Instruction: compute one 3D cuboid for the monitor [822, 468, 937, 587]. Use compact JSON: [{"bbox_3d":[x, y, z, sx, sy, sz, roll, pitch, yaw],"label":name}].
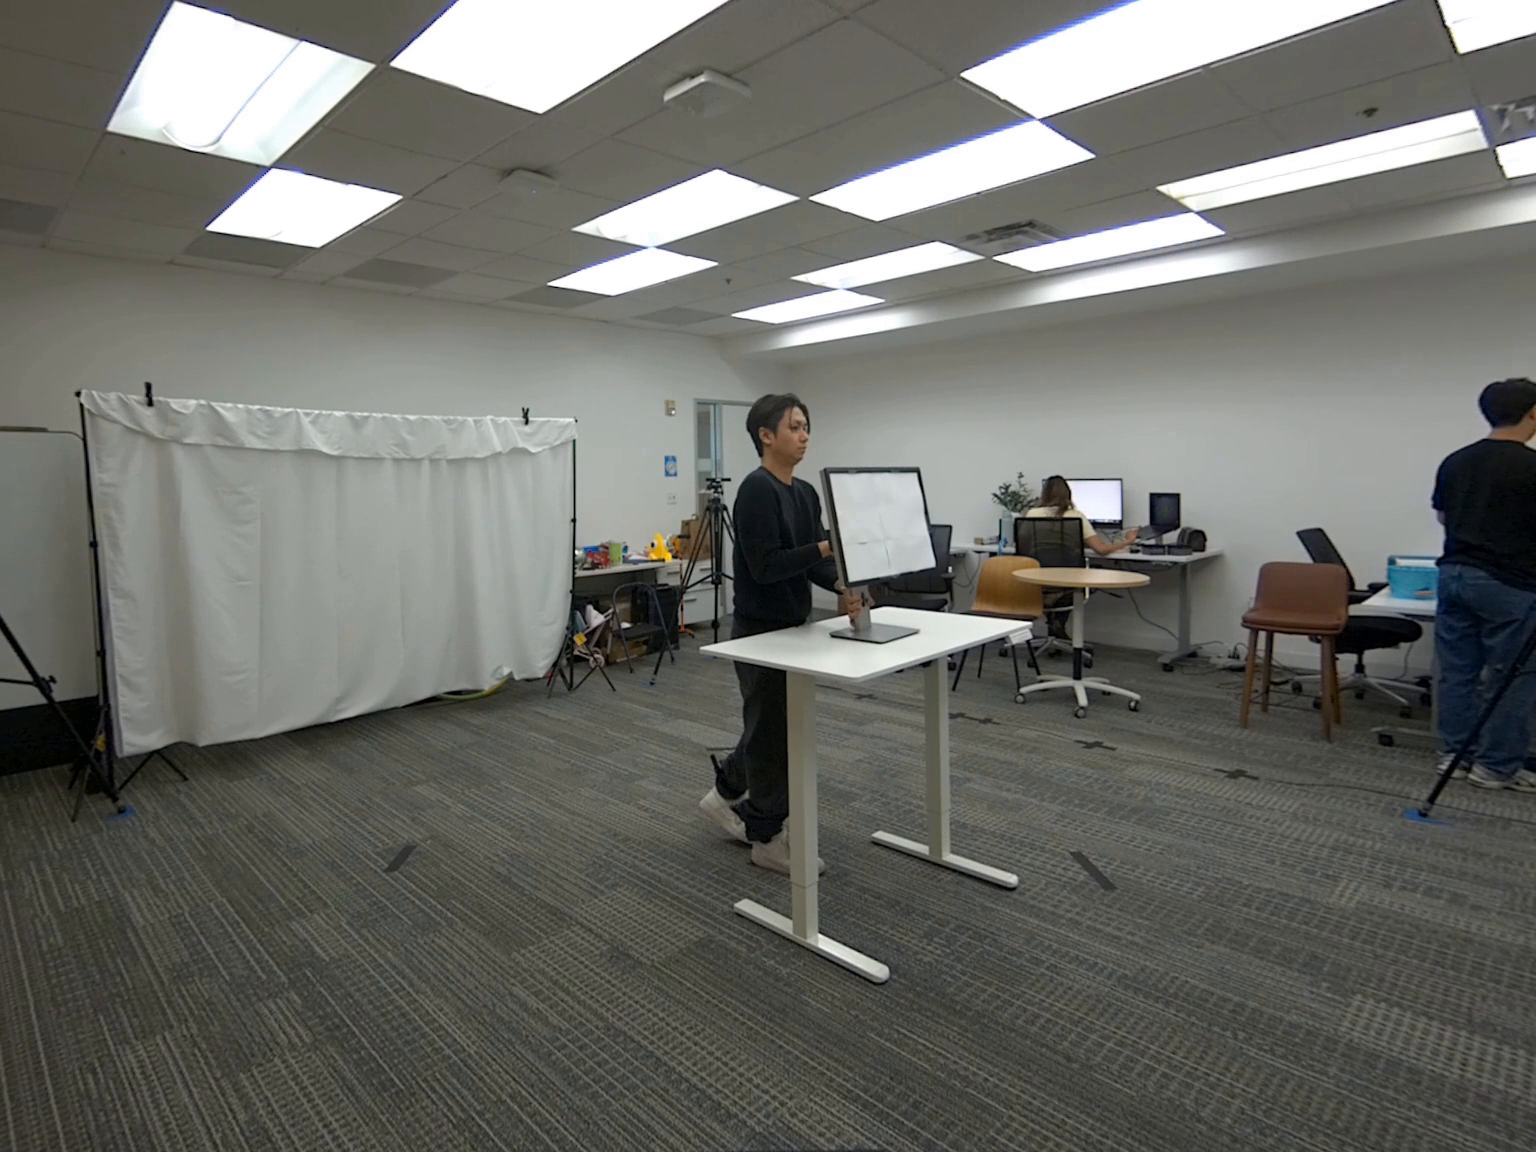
[{"bbox_3d":[0.338,-0.075,2.754,0.193,0.520,0.525,3,7,39],"label":"monitor"}]
